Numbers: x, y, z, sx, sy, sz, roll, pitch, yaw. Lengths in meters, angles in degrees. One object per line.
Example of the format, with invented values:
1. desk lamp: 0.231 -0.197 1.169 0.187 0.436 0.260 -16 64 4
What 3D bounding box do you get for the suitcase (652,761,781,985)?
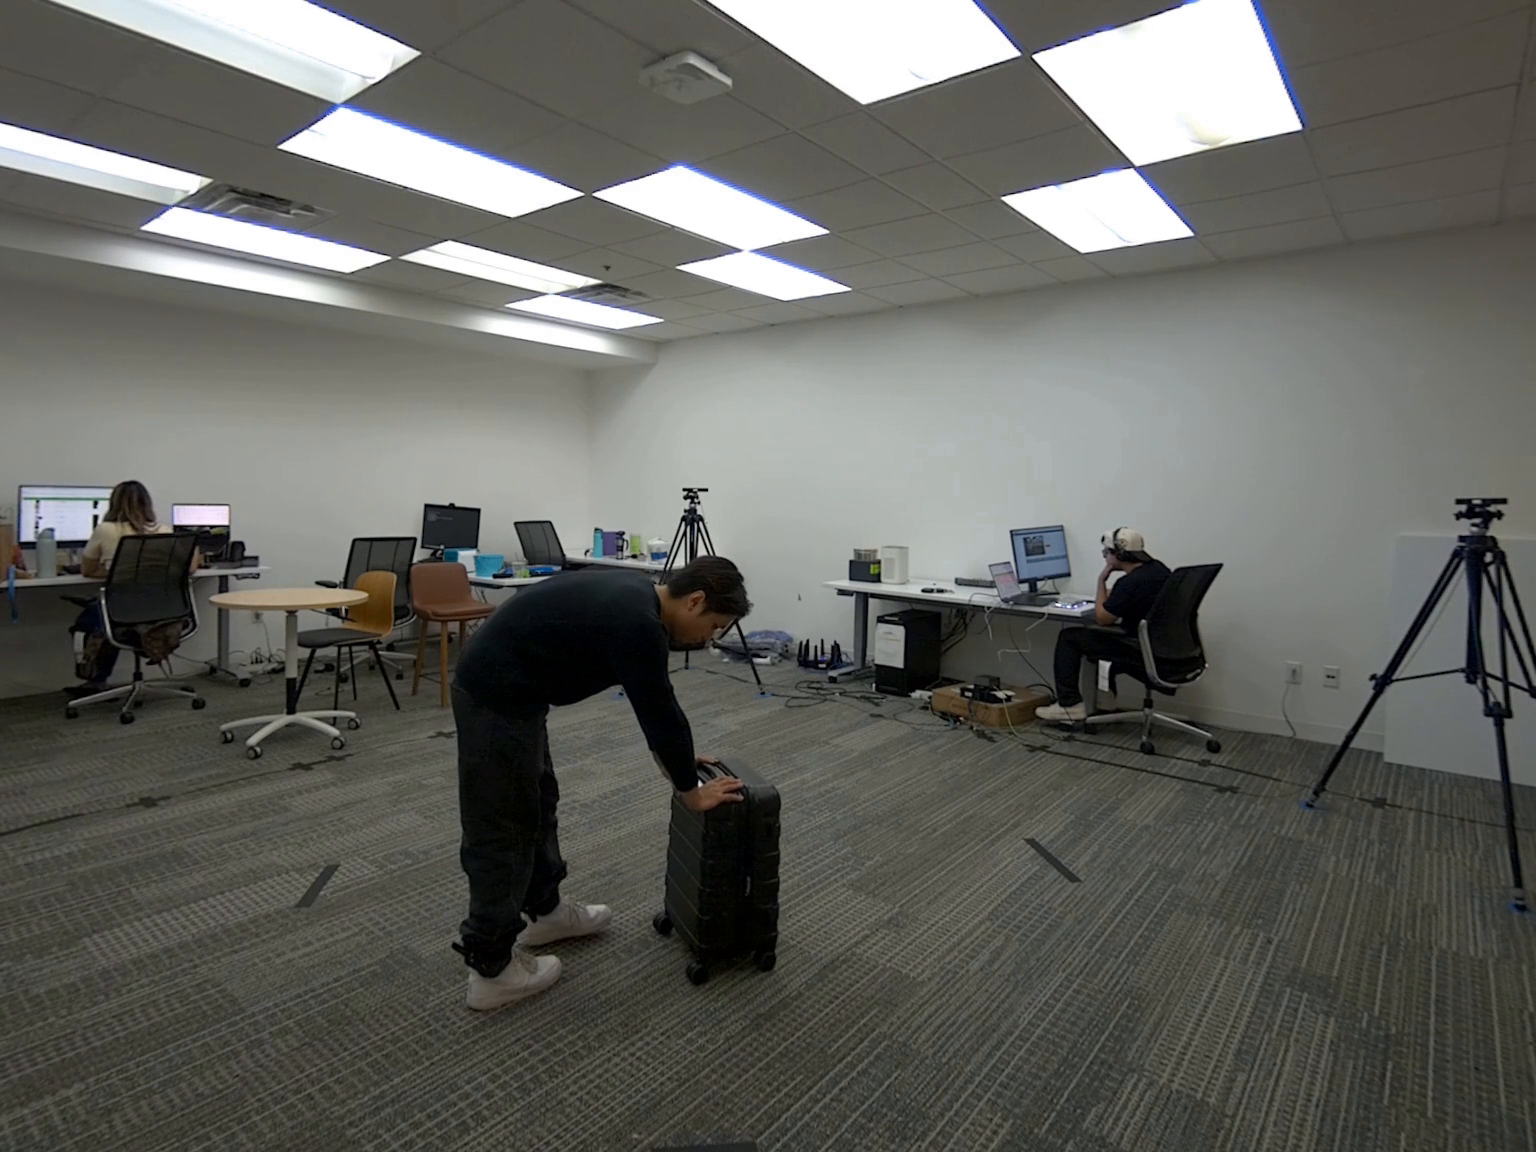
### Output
1. suitcase: -0.149 0.851 2.570 0.242 0.548 0.385 2 3 -24
